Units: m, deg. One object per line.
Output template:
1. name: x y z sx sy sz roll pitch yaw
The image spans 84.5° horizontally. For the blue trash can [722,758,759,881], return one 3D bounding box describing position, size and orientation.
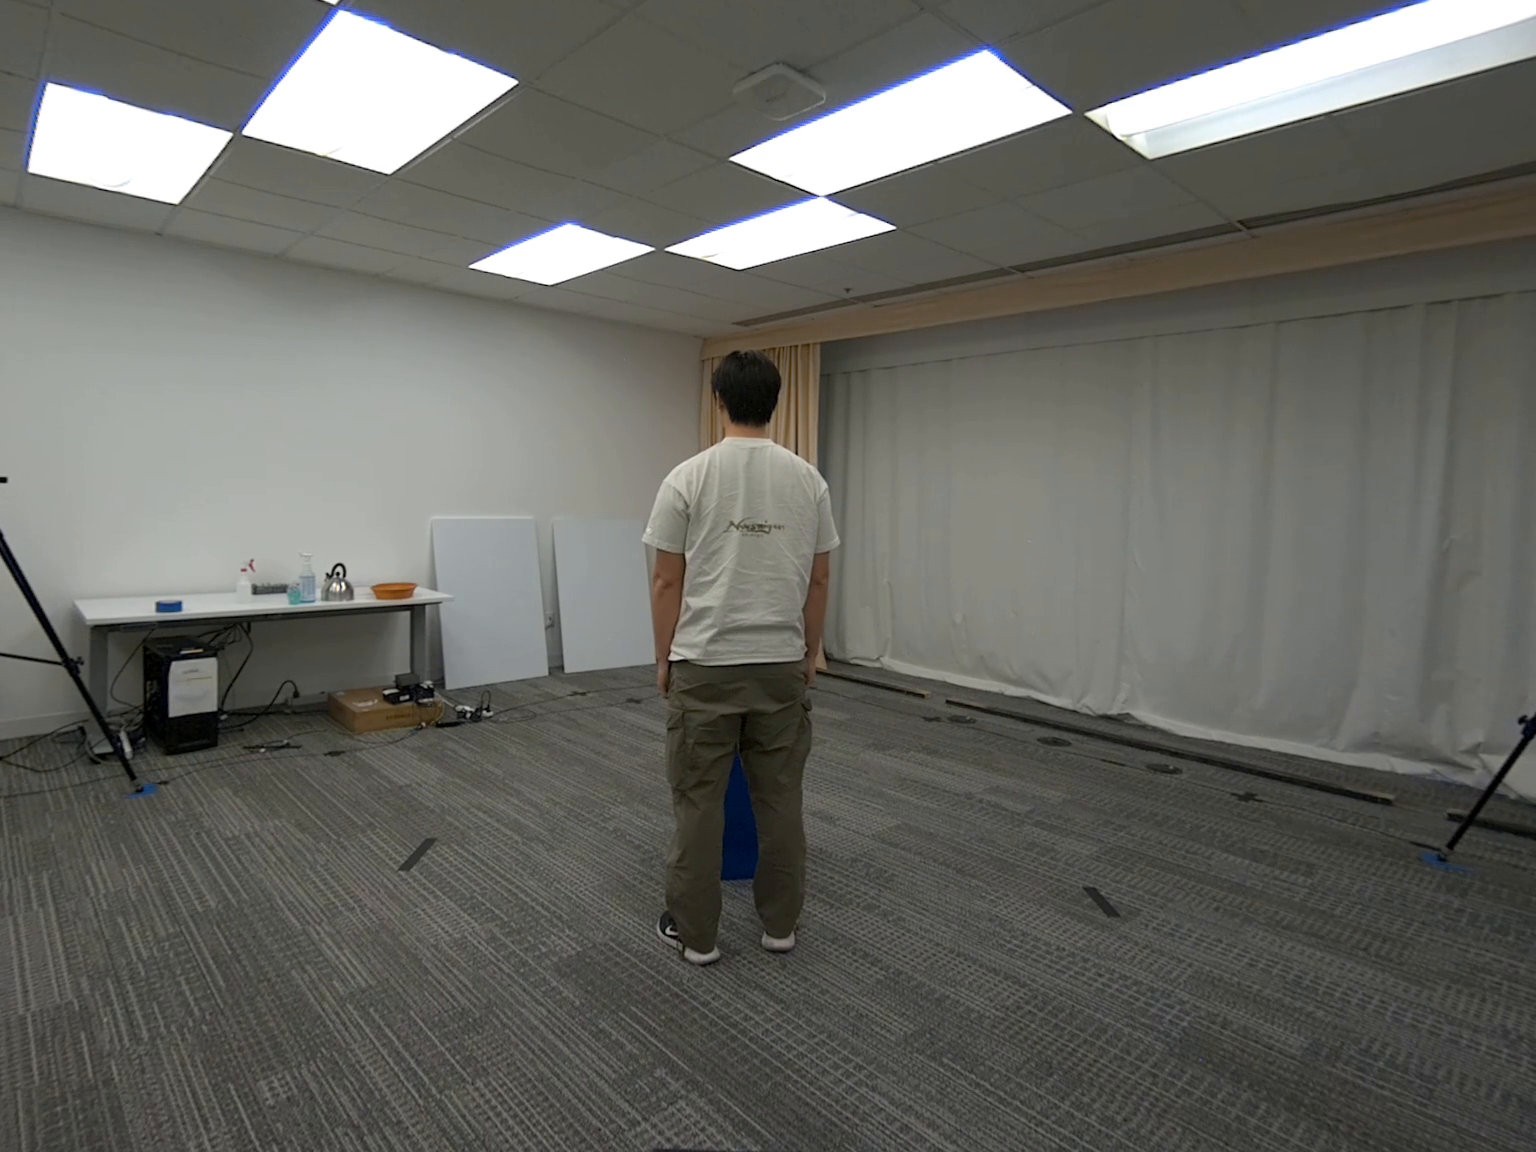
1. blue trash can: -0.166 0.737 3.190 0.375 0.712 0.378 1 3 -10
